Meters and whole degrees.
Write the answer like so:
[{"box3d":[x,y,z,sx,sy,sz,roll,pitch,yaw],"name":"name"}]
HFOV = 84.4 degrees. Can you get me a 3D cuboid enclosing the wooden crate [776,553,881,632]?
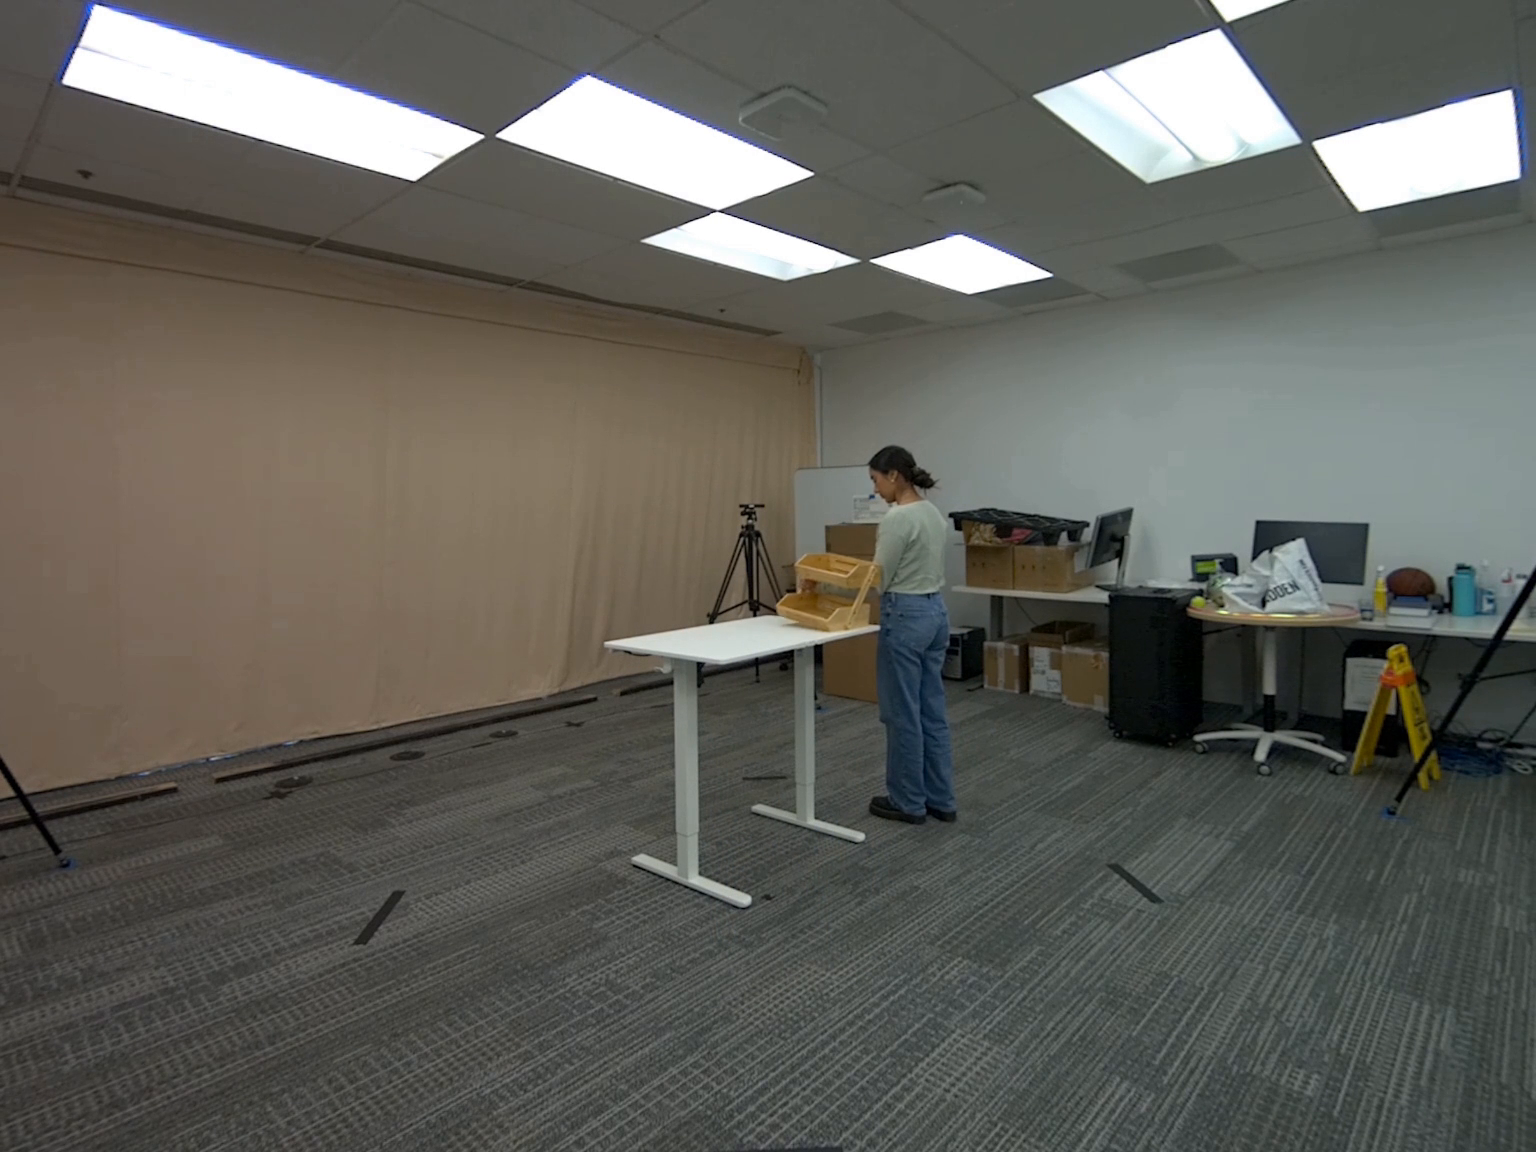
[{"box3d":[0.253,0.058,3.516,0.293,0.272,0.336,-3,11,-42],"name":"wooden crate"}]
